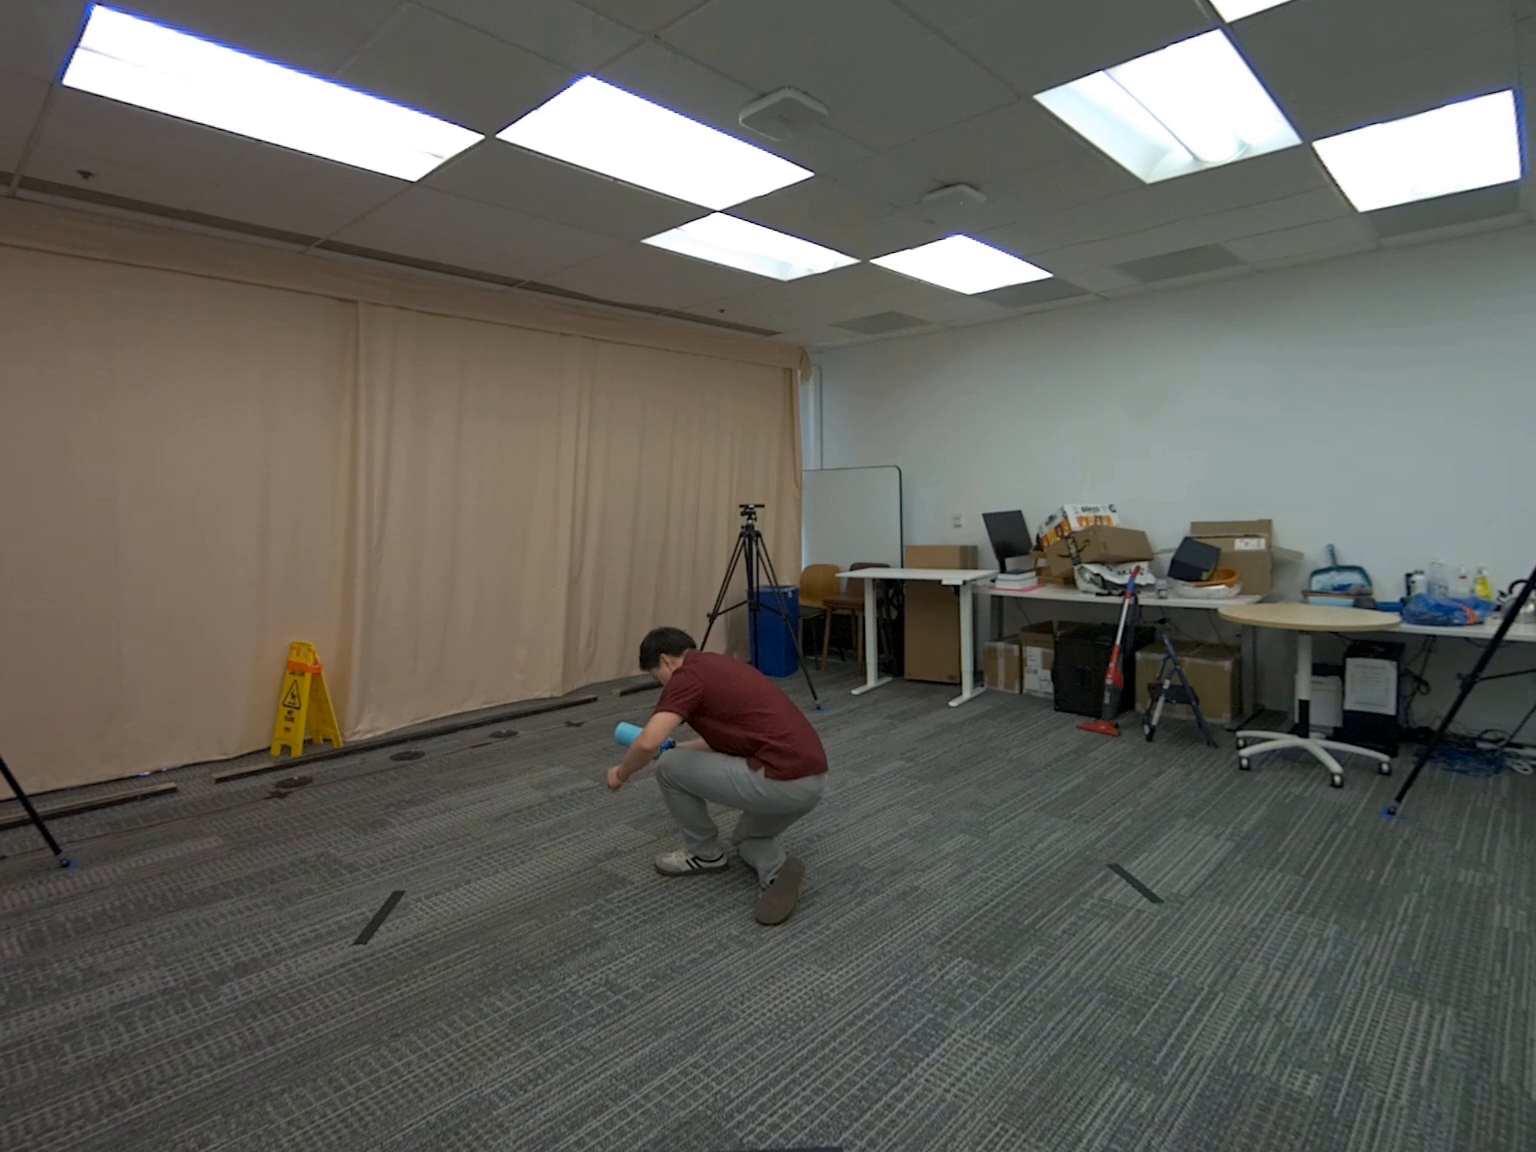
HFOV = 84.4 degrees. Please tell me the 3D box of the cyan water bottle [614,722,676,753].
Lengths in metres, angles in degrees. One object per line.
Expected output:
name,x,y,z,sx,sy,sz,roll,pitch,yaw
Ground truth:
cyan water bottle,-0.502,0.688,3.483,0.292,0.092,0.090,11,9,28
